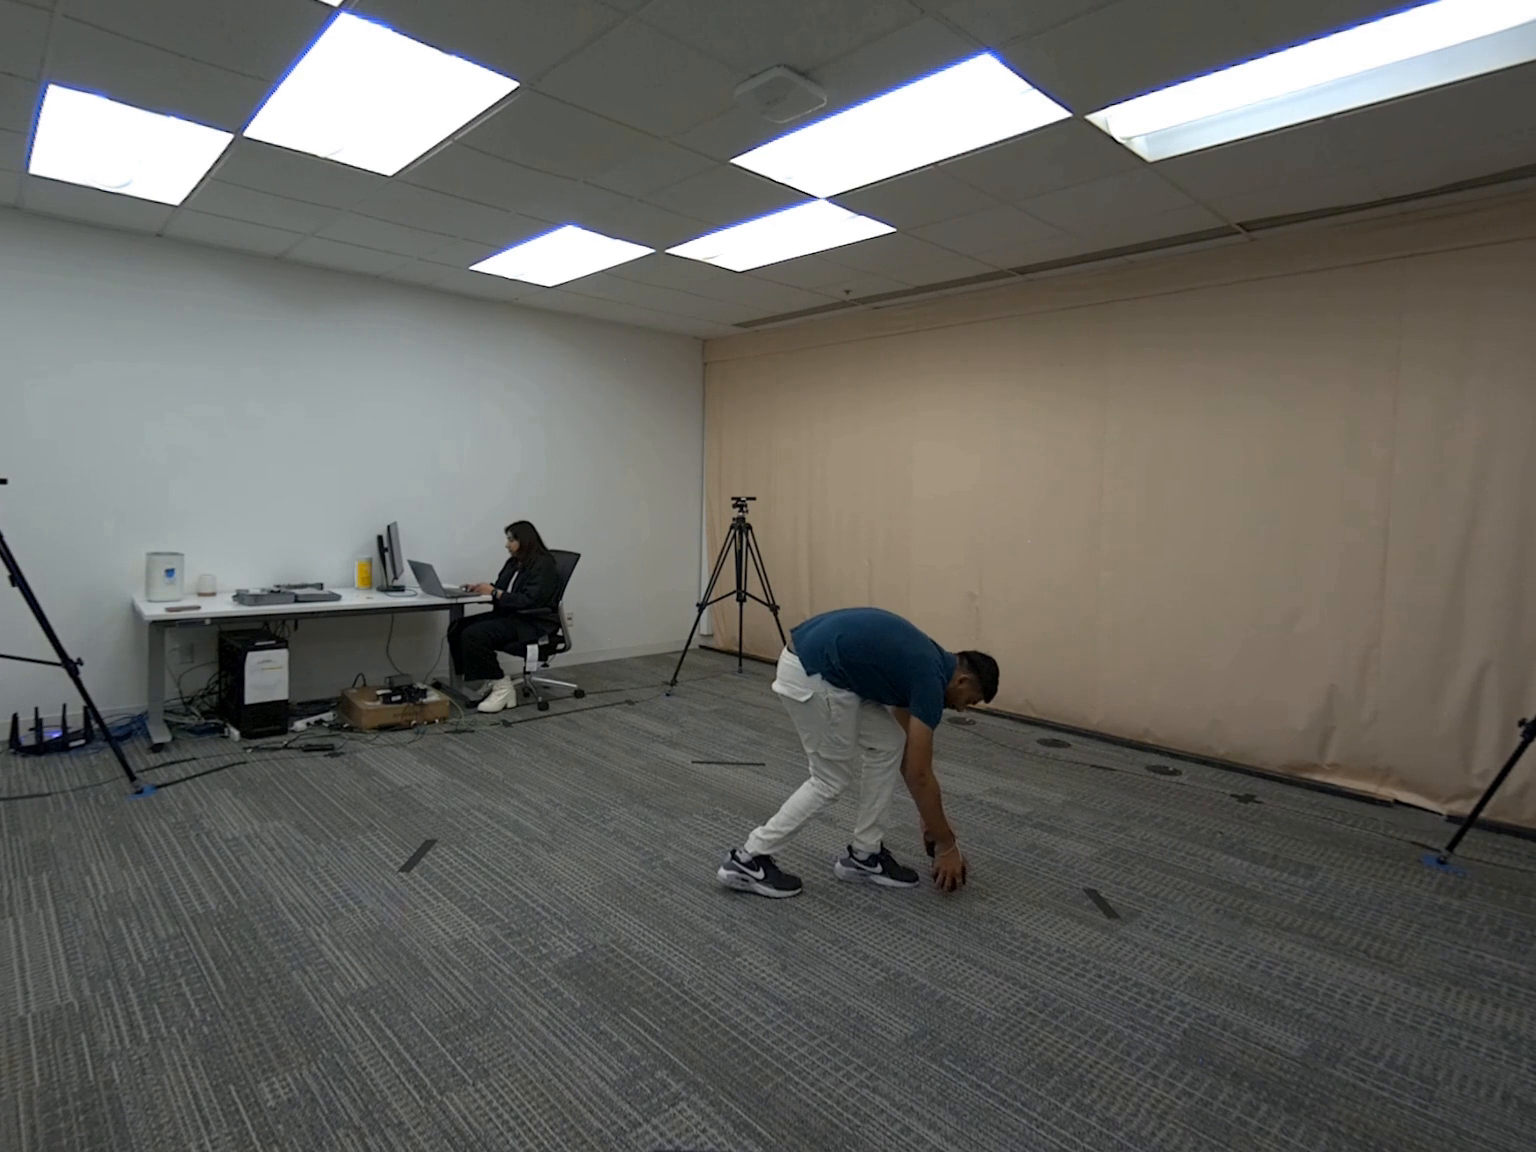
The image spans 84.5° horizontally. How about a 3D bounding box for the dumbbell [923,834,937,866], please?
[{"bbox_3d":[0.578,1.049,3.075,0.109,0.122,0.294,-10,8,3],"label":"dumbbell"}]
